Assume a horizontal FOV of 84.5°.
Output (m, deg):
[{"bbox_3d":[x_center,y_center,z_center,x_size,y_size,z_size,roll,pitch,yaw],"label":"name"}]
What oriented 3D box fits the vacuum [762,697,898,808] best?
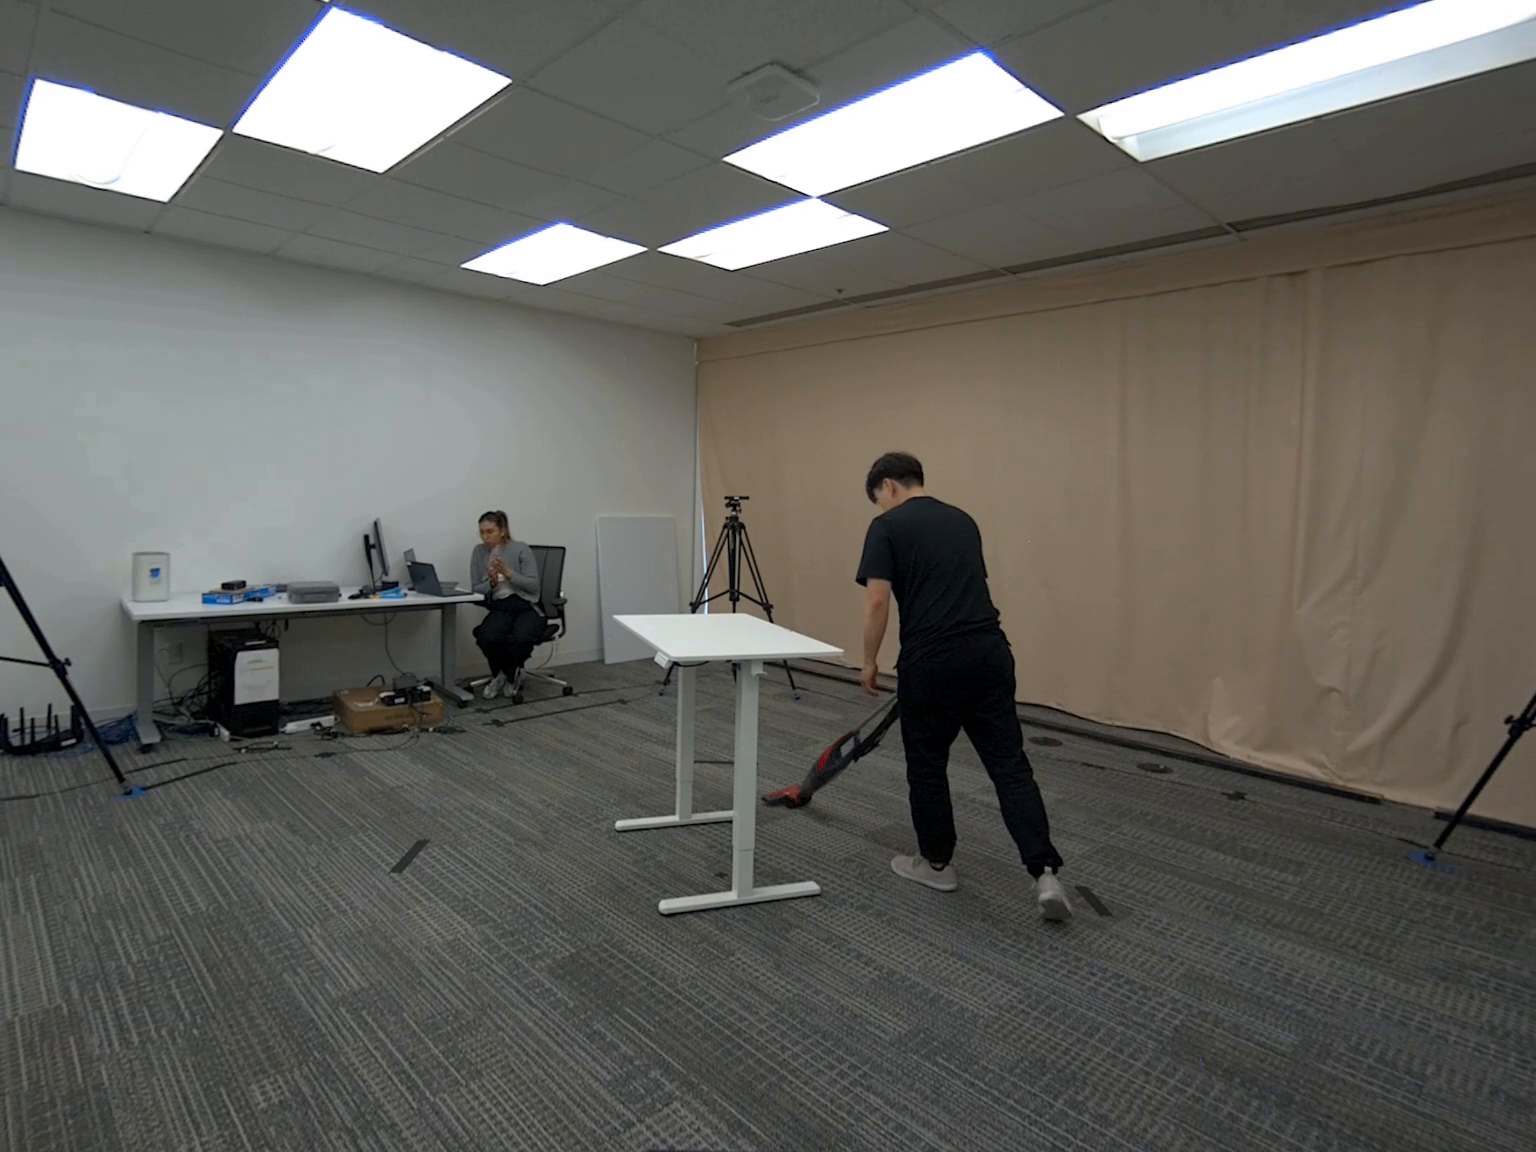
[{"bbox_3d":[0.375,0.713,3.590,0.247,0.147,1.048,-4,-34,-45],"label":"vacuum"}]
